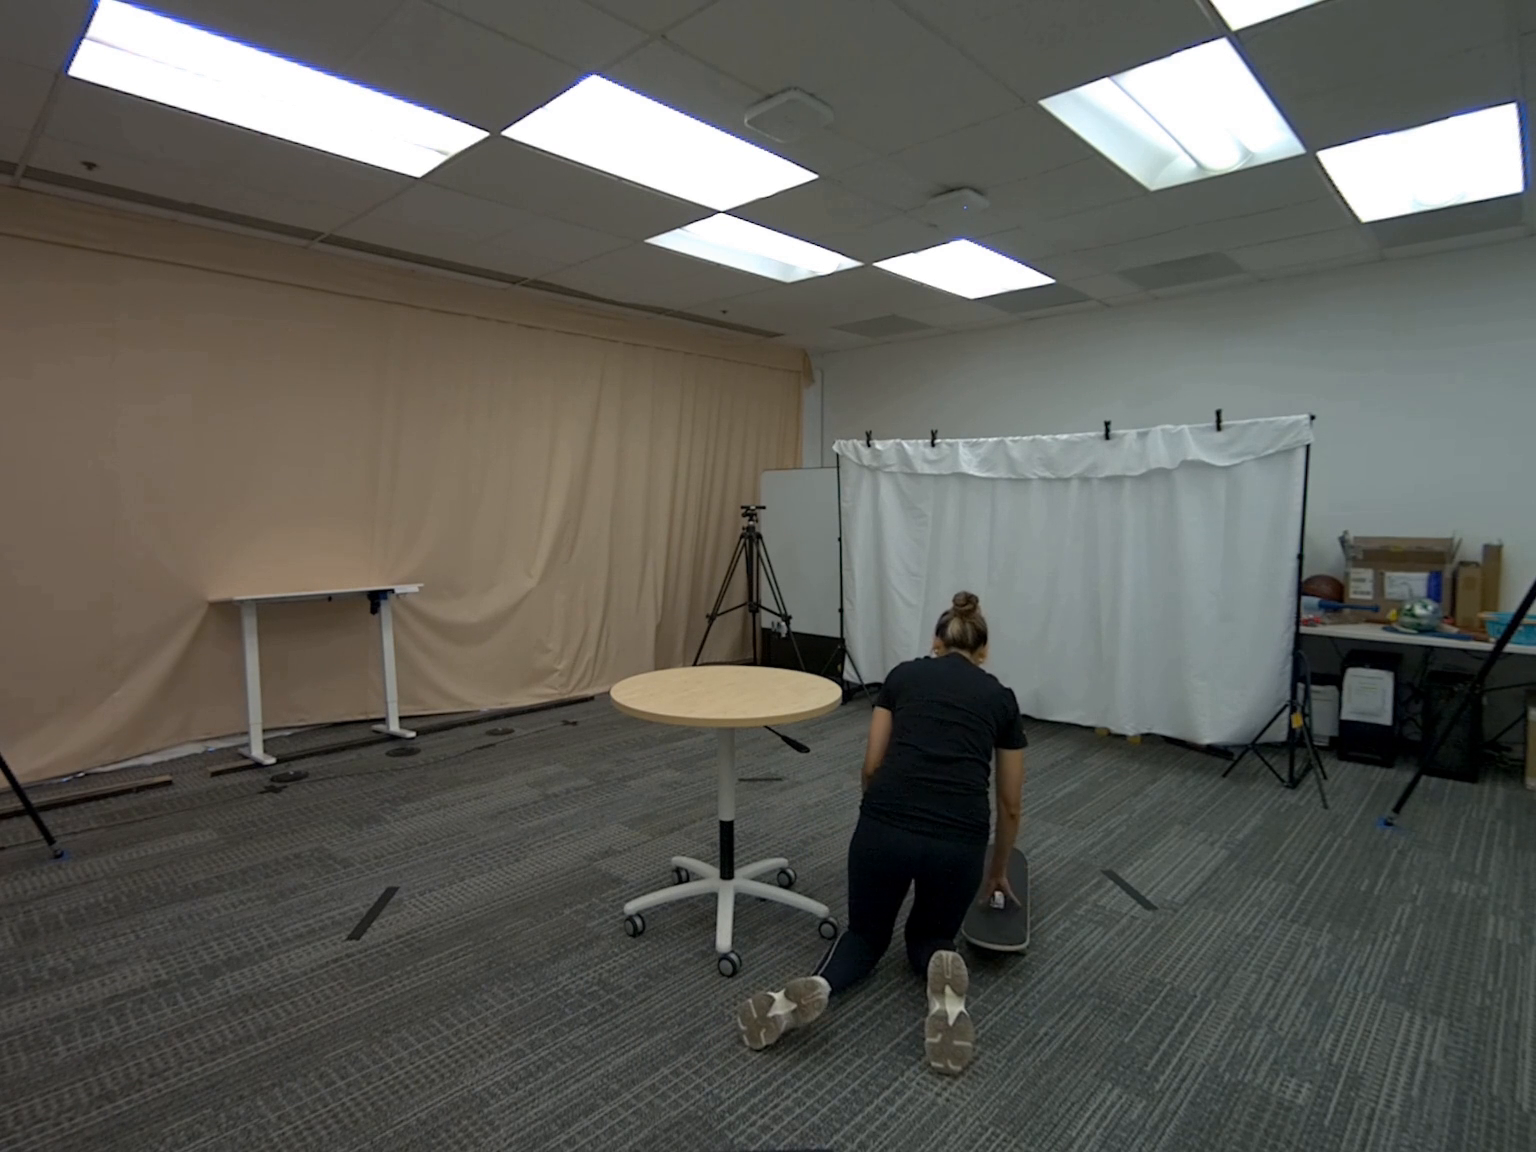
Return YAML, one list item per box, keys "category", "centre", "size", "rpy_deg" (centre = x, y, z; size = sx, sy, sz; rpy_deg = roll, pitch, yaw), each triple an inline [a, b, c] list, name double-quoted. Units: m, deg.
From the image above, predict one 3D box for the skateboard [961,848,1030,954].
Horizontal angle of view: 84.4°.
- category: "skateboard"
  centre: [0.780, 1.100, 2.825]
  size: [0.197, 0.110, 0.773]
  rpy_deg: [0, 5, 17]
